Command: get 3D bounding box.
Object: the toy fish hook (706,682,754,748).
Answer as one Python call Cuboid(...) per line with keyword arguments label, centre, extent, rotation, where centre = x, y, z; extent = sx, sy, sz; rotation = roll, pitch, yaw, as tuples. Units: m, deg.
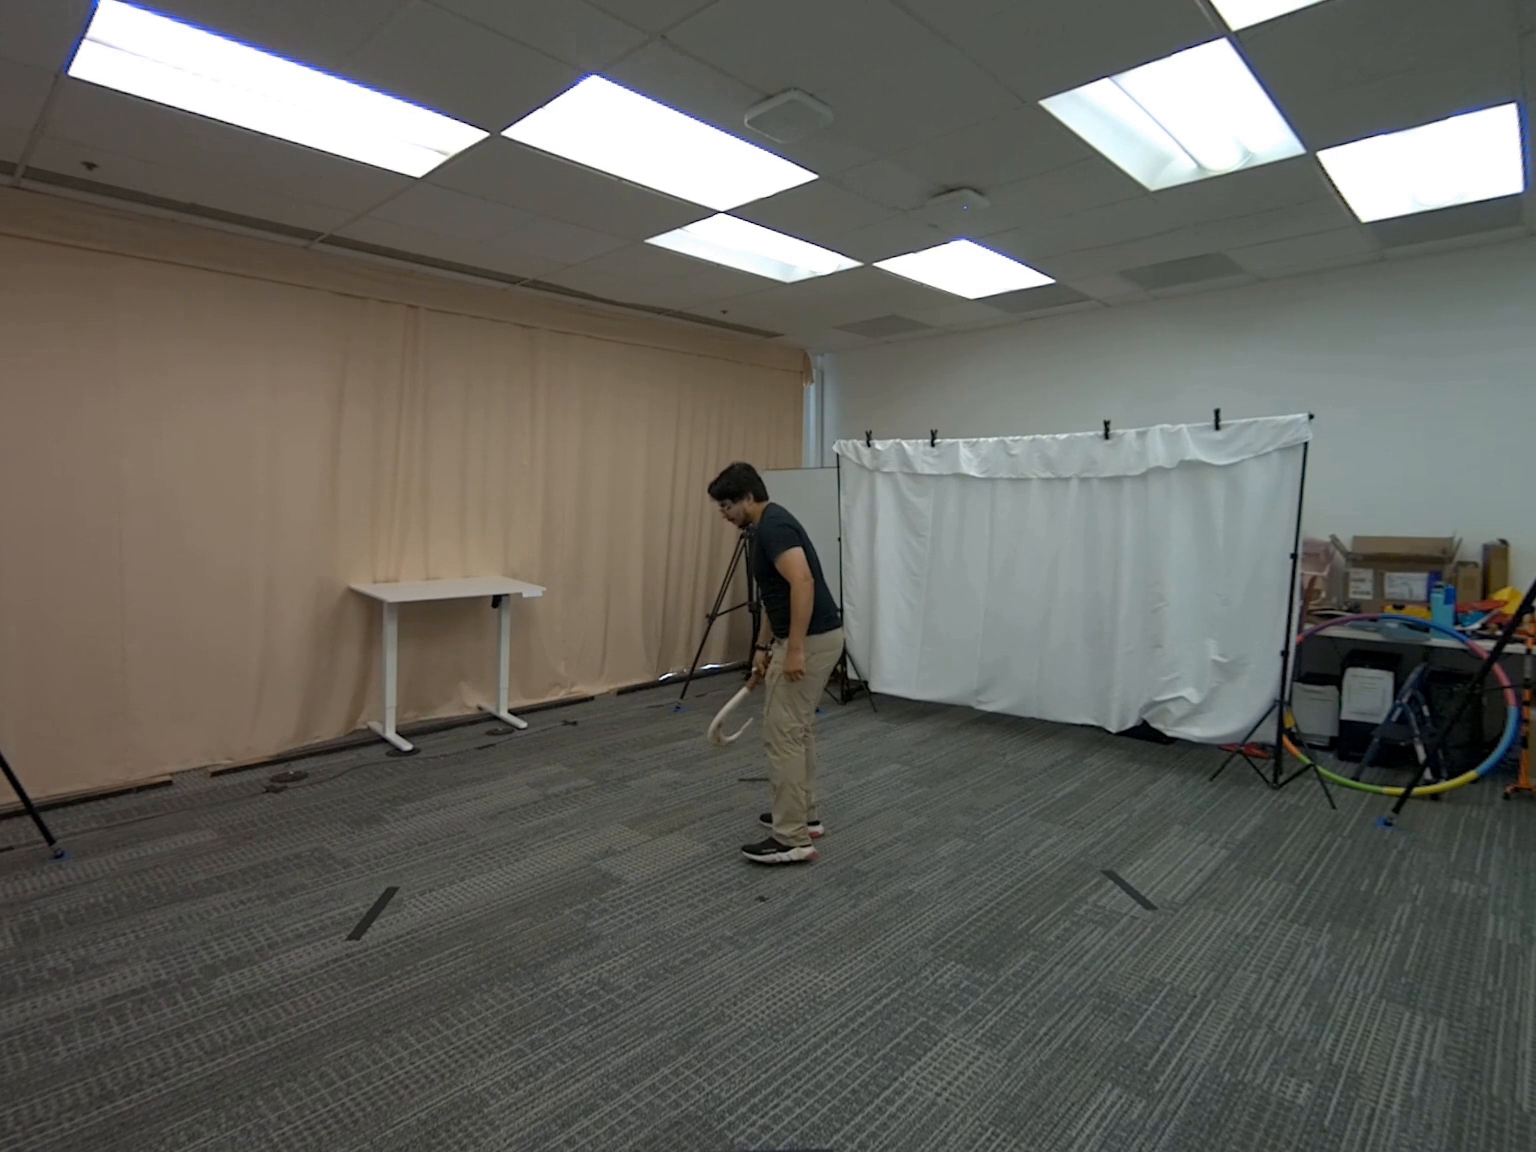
Cuboid(label="toy fish hook", centre=(-0.091, 0.568, 3.835), extent=(0.050, 0.506, 0.216), rotation=(37, 2, 44))
